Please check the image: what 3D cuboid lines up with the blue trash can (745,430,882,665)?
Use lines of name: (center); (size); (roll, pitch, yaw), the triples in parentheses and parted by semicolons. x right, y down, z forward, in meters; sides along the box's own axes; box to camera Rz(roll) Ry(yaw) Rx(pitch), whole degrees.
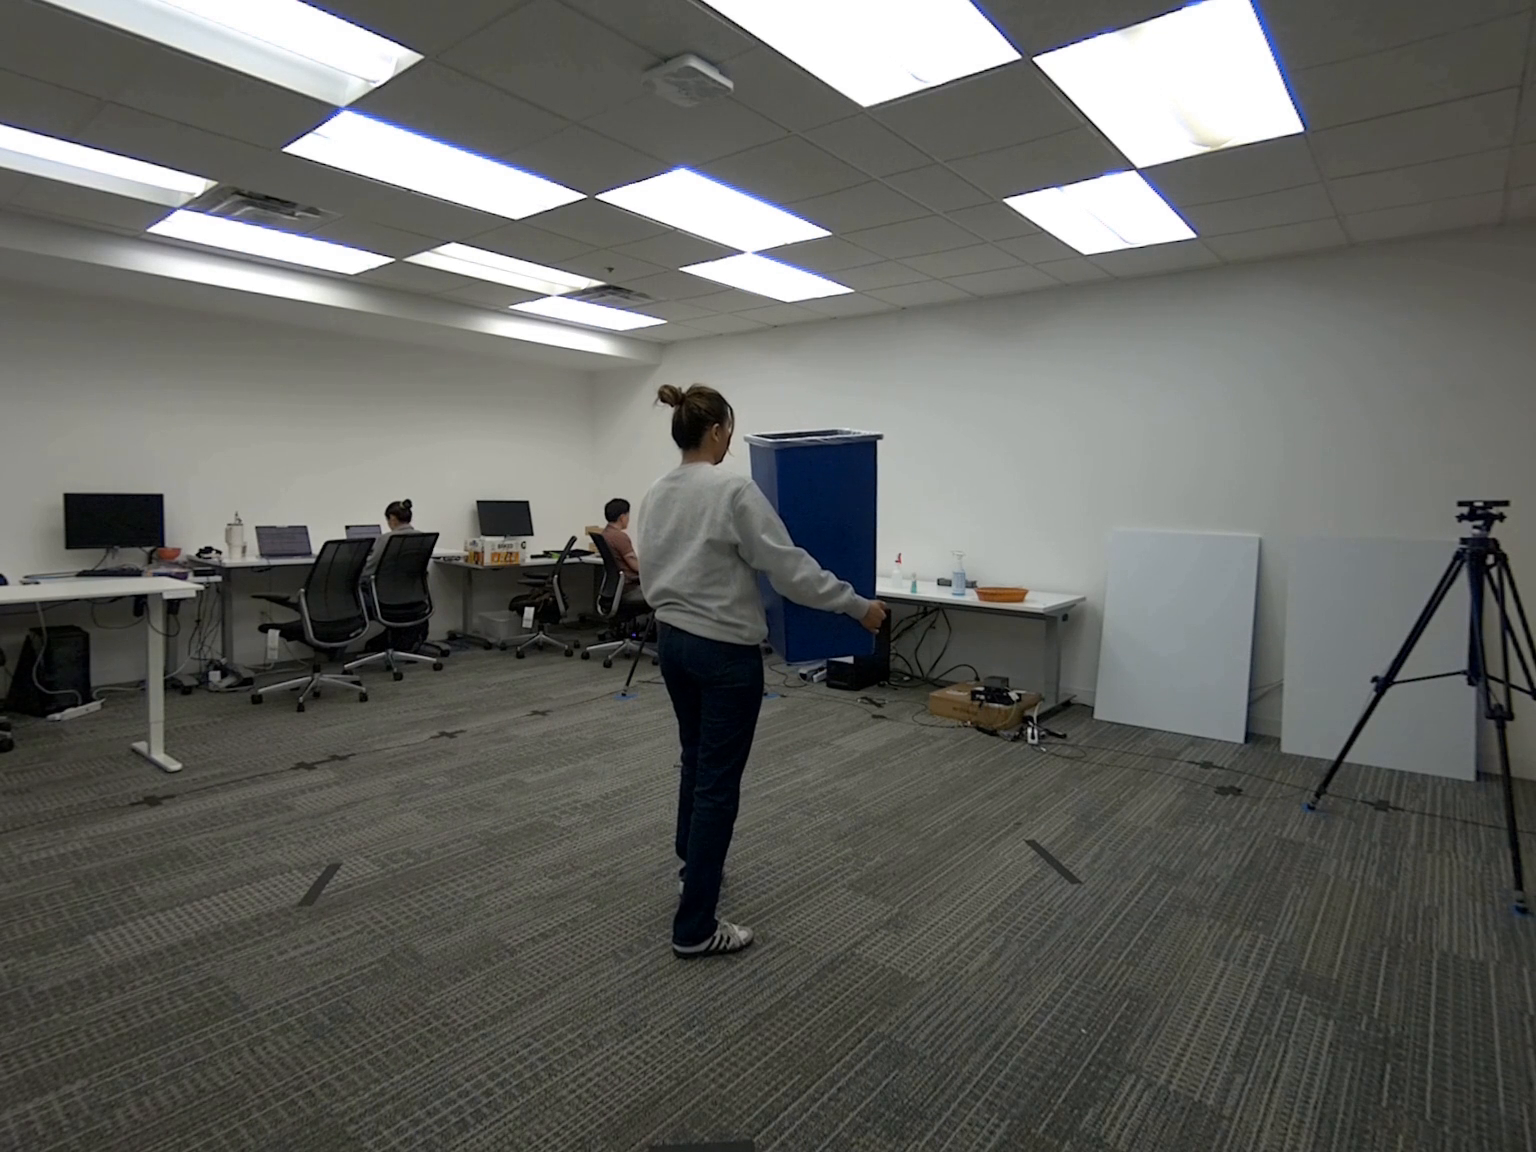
blue trash can: (0.139, -0.121, 2.800); (0.369, 0.707, 0.386); (-4, 9, -14)
